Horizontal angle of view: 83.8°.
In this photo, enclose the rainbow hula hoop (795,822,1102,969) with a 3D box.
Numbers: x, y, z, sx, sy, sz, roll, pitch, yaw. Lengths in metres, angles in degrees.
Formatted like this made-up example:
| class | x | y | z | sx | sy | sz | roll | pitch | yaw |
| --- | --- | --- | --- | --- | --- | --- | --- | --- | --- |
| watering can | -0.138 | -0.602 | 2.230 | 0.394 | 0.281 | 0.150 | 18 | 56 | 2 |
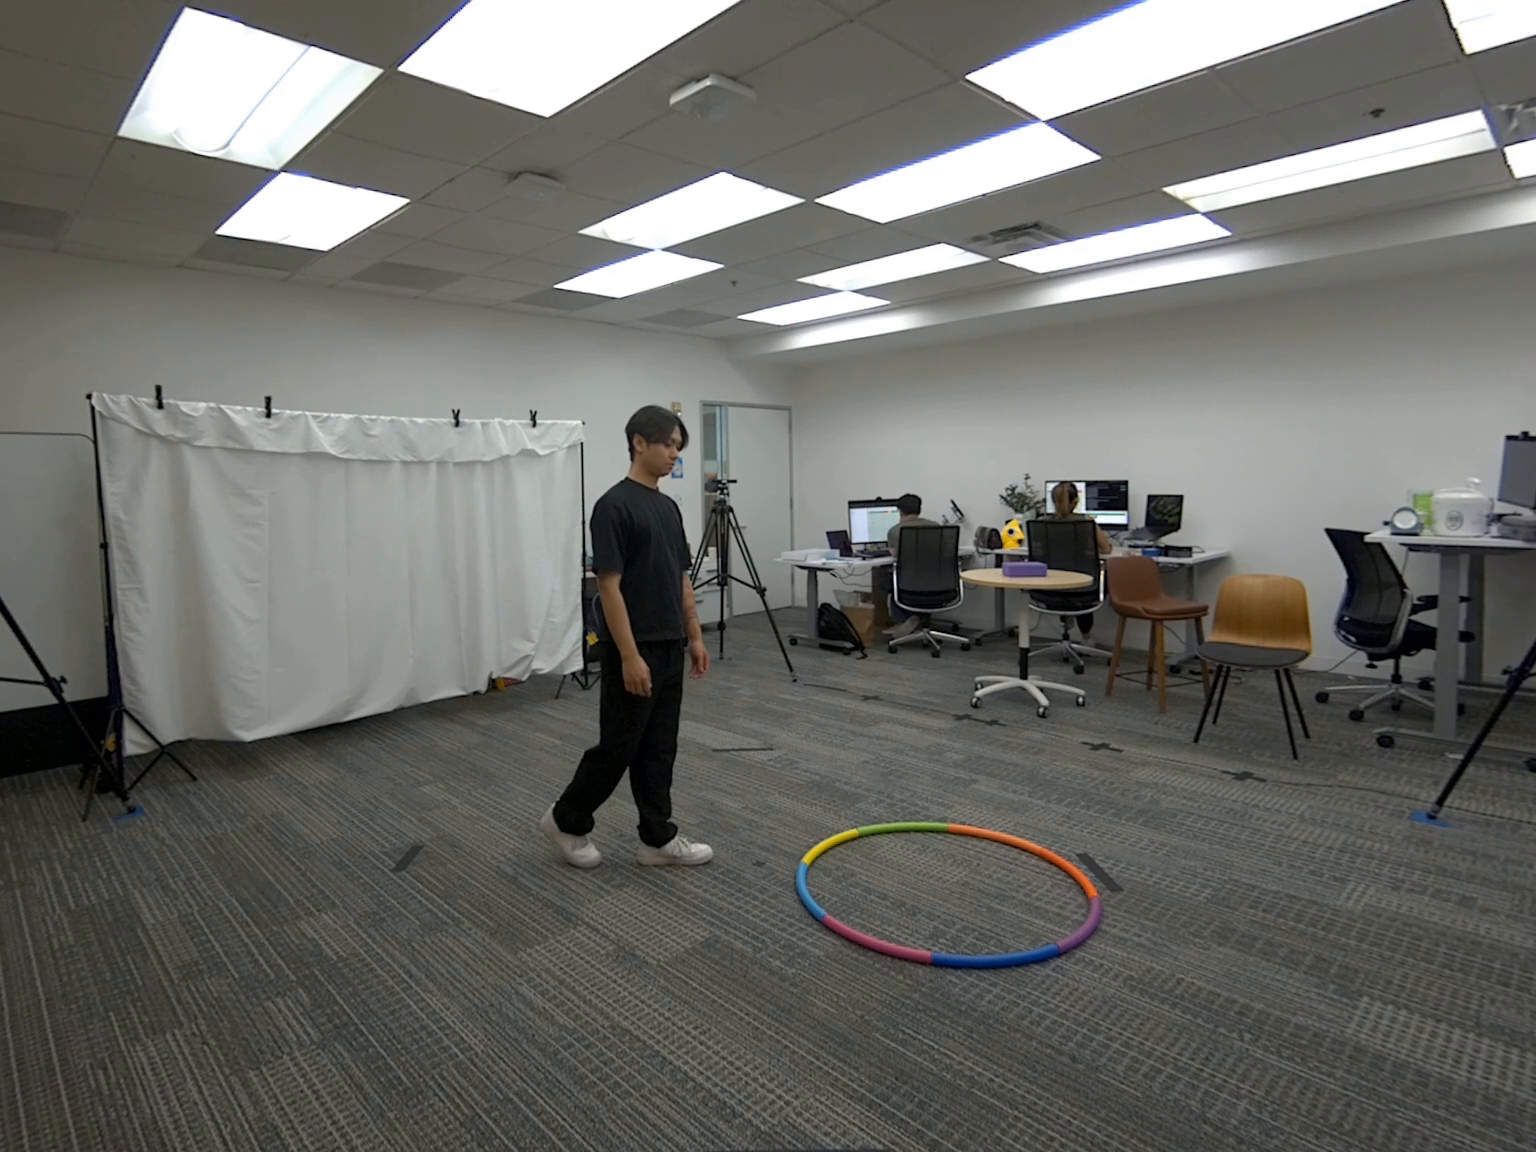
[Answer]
| class | x | y | z | sx | sy | sz | roll | pitch | yaw |
| --- | --- | --- | --- | --- | --- | --- | --- | --- | --- |
| rainbow hula hoop | 0.587 | 1.030 | 2.904 | 0.978 | 0.035 | 0.984 | -1 | 6 | -2 |
